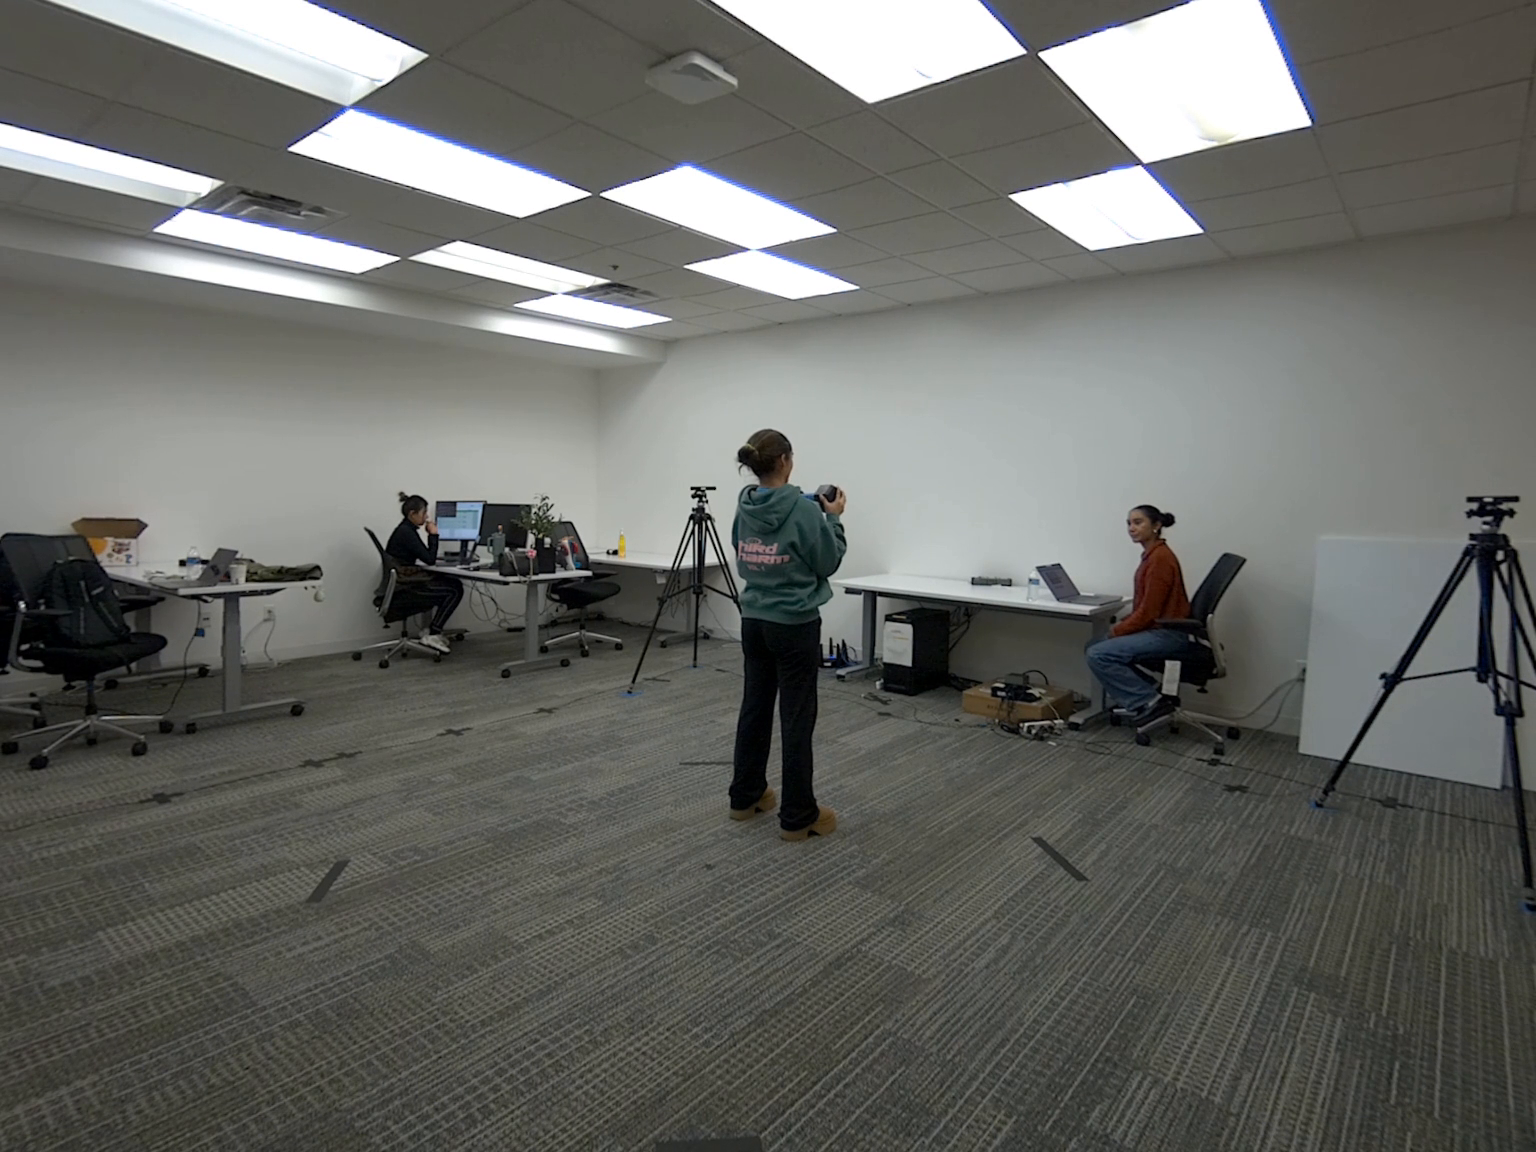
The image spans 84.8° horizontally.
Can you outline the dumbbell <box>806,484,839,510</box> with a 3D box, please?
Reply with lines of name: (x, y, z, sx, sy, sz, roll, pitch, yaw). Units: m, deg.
dumbbell: (0.164, -0.322, 3.655, 0.303, 0.105, 0.123, 1, 42, 49)
